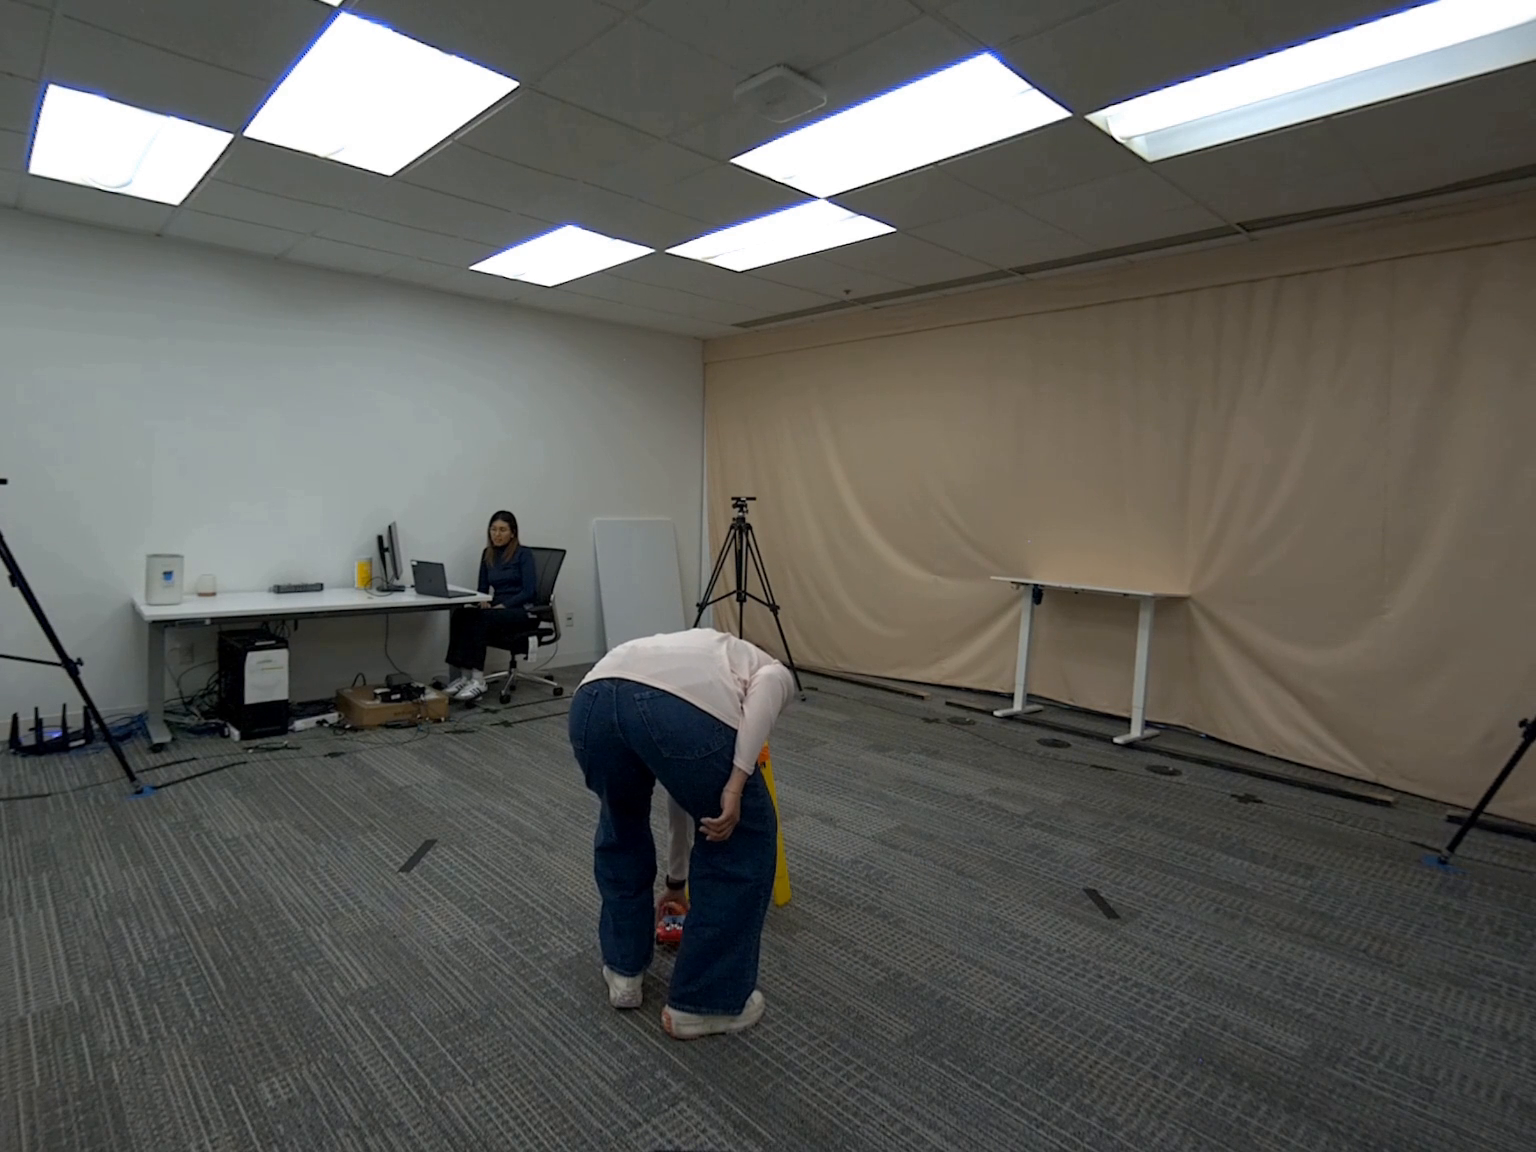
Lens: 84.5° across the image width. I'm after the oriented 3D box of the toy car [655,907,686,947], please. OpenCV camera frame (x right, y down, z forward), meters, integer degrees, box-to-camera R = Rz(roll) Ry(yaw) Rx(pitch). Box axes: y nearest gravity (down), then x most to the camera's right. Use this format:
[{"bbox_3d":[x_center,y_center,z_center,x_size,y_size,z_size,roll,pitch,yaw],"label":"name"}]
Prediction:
[{"bbox_3d":[-0.302,1.105,2.684,0.130,0.082,0.257,-2,12,-5],"label":"toy car"}]
